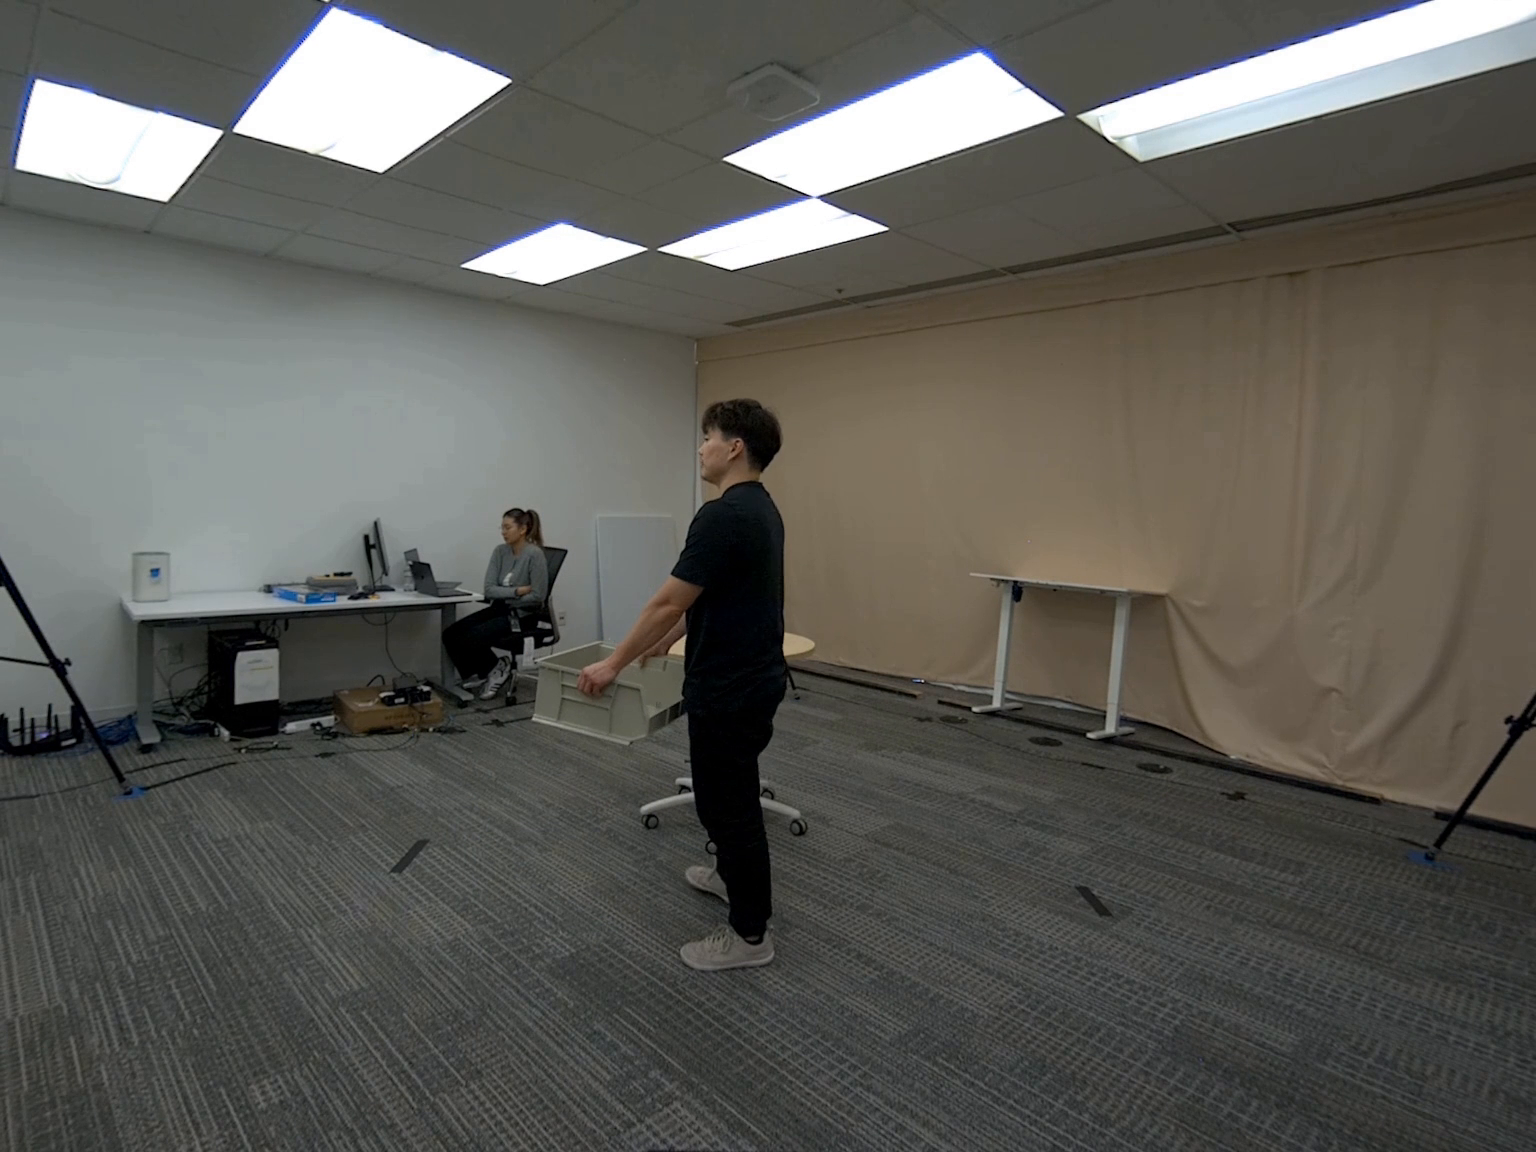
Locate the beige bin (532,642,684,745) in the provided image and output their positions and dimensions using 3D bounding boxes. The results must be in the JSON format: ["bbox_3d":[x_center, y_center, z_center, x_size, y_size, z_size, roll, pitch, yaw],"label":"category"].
[{"bbox_3d":[-0.445,0.350,2.591,0.382,0.188,0.418,8,7,14],"label":"beige bin"}]
